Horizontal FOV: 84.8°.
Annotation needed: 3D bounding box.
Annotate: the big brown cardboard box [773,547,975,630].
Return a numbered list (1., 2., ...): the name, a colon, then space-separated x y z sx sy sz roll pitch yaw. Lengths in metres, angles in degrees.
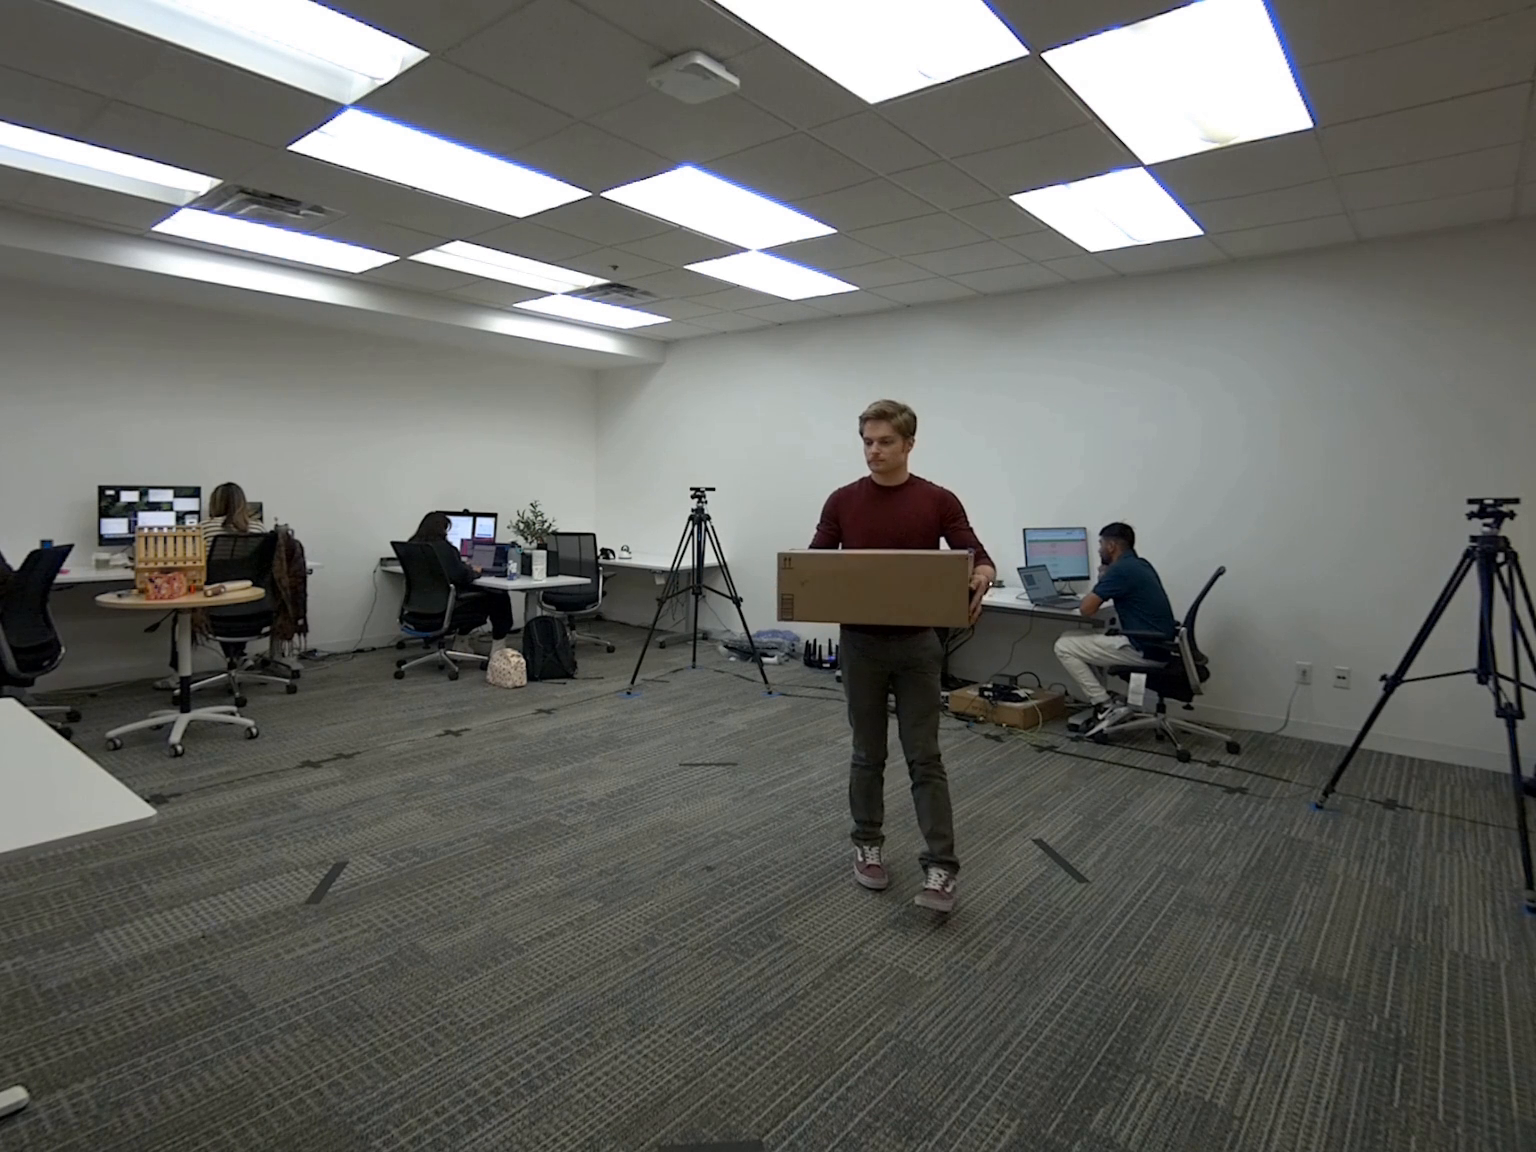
1. big brown cardboard box: 0.357 0.026 2.720 0.600 0.233 0.410 0 2 18
